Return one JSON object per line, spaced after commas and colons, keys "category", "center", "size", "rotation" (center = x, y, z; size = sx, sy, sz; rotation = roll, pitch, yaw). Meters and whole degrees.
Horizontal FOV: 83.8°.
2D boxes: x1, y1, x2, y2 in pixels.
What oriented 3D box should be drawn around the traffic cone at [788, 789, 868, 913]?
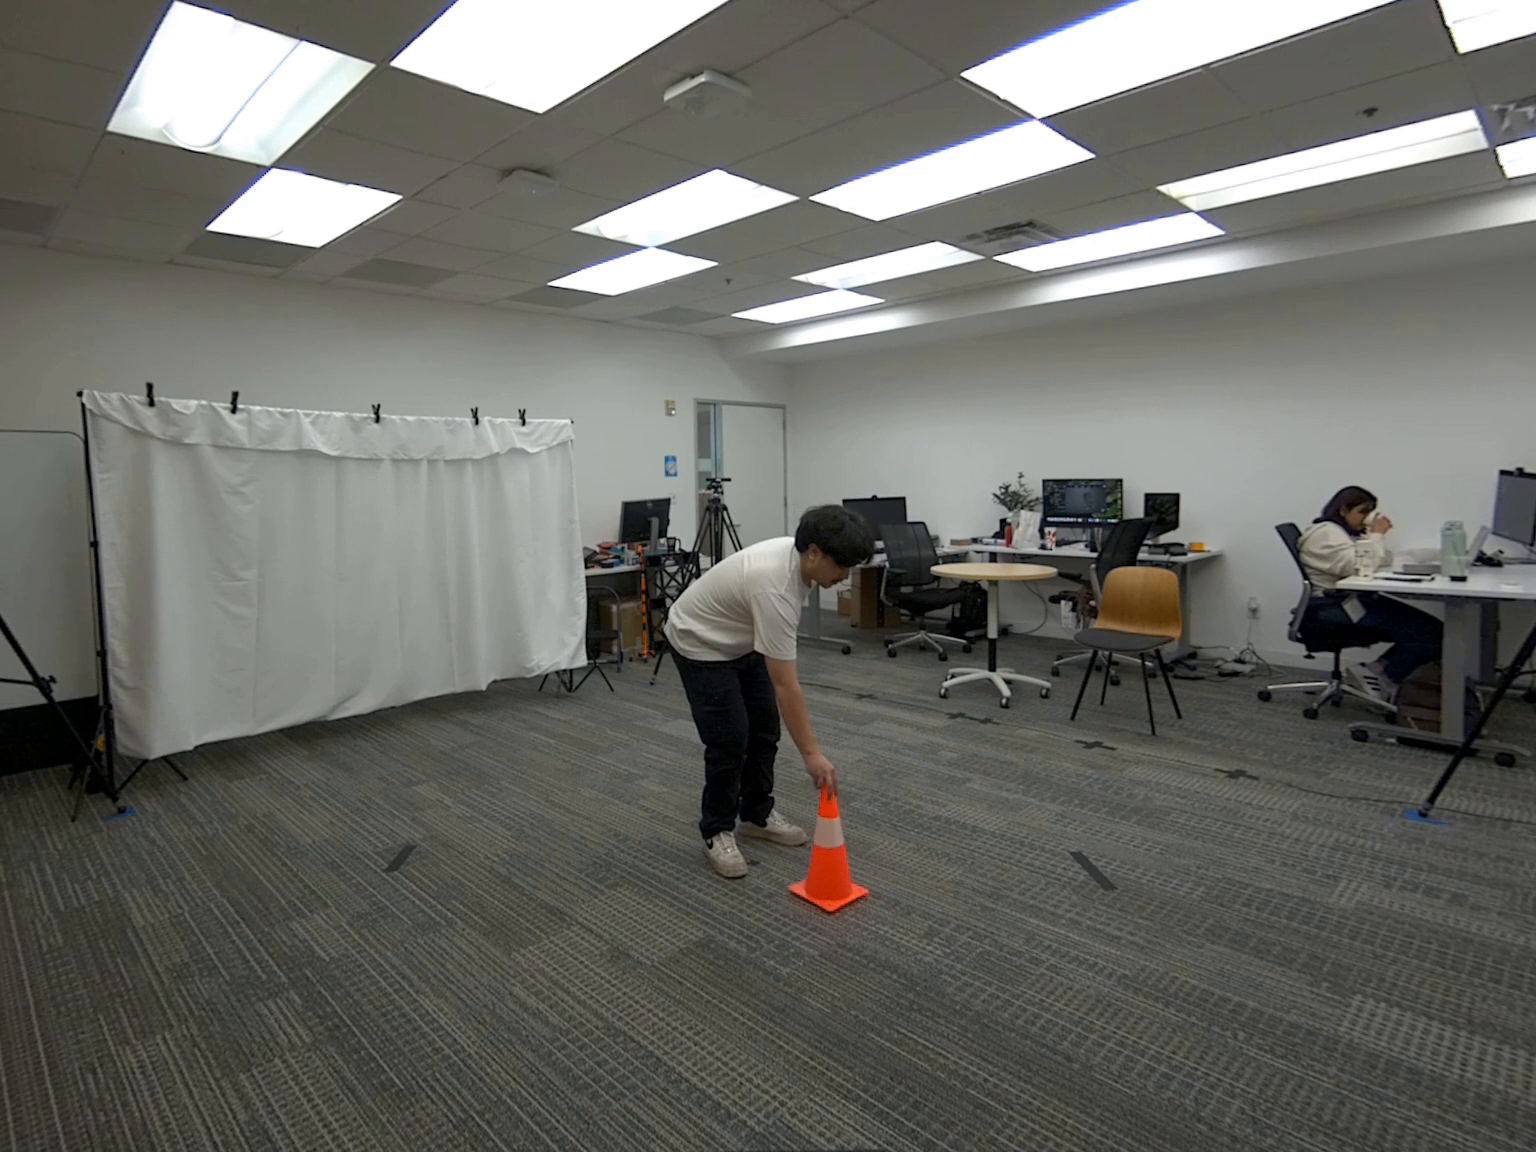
{"category": "traffic cone", "center": [0.203, 0.860, 2.844], "size": [0.199, 0.382, 0.209], "rotation": [-5, 5, -41]}
